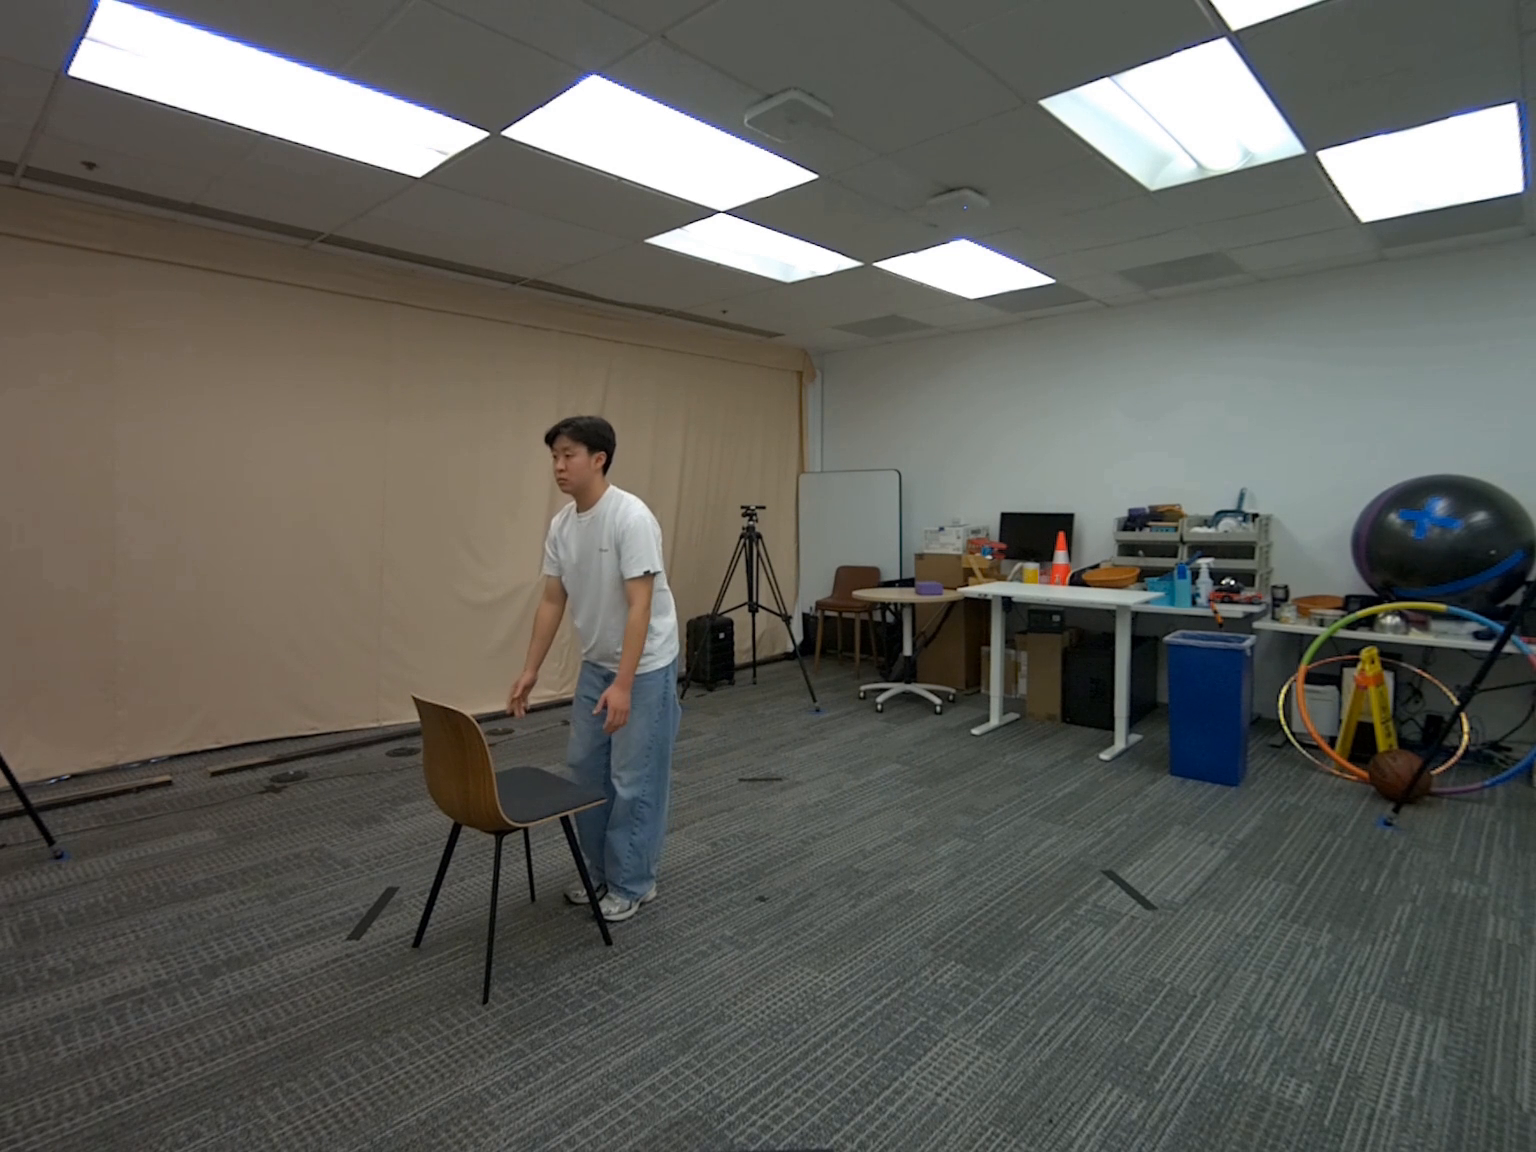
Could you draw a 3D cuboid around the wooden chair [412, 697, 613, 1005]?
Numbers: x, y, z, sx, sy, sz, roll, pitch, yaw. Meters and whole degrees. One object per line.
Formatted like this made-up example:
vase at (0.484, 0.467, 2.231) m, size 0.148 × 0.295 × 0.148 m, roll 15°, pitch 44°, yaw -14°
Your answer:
wooden chair at (-0.803, 0.745, 2.657) m, size 0.494 × 0.874 × 0.508 m, roll 2°, pitch 8°, yaw 44°
